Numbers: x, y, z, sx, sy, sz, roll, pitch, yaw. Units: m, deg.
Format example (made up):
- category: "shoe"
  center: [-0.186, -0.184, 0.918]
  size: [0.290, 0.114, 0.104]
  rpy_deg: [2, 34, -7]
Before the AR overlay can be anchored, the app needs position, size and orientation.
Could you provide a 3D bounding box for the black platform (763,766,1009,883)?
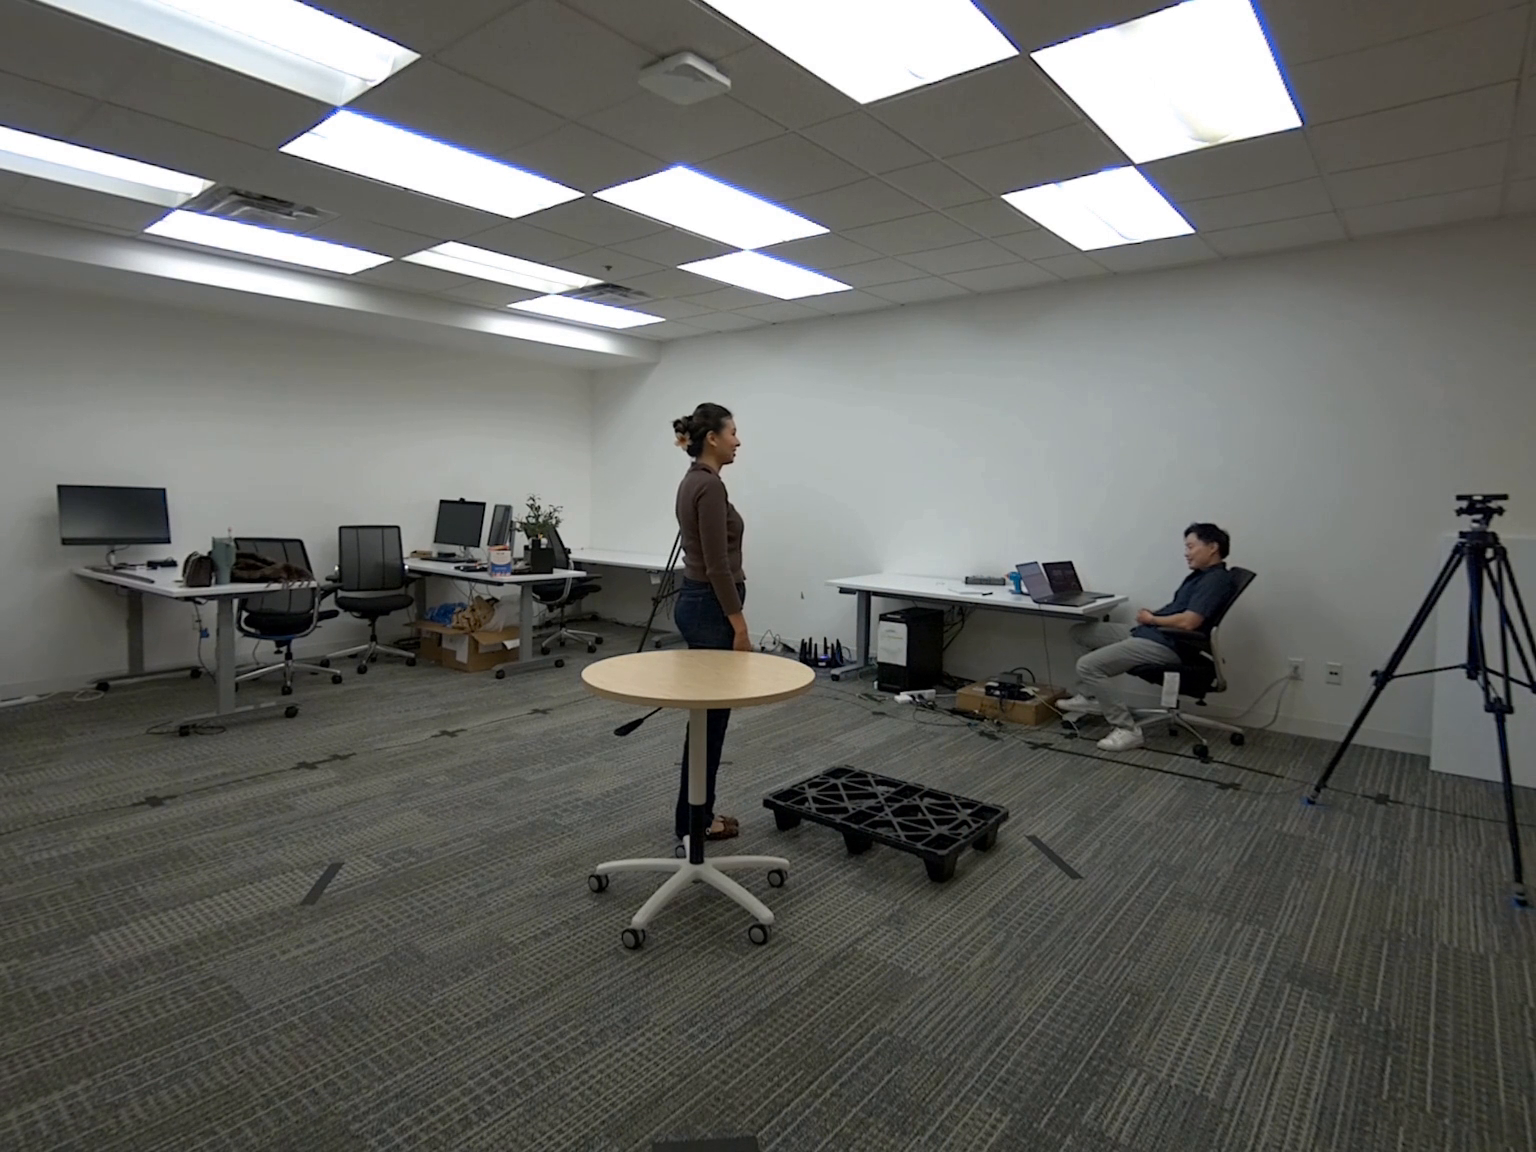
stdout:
- category: "black platform"
  center: [0.465, 0.980, 3.426]
  size: [0.833, 0.143, 0.587]
  rpy_deg: [6, 7, 39]
